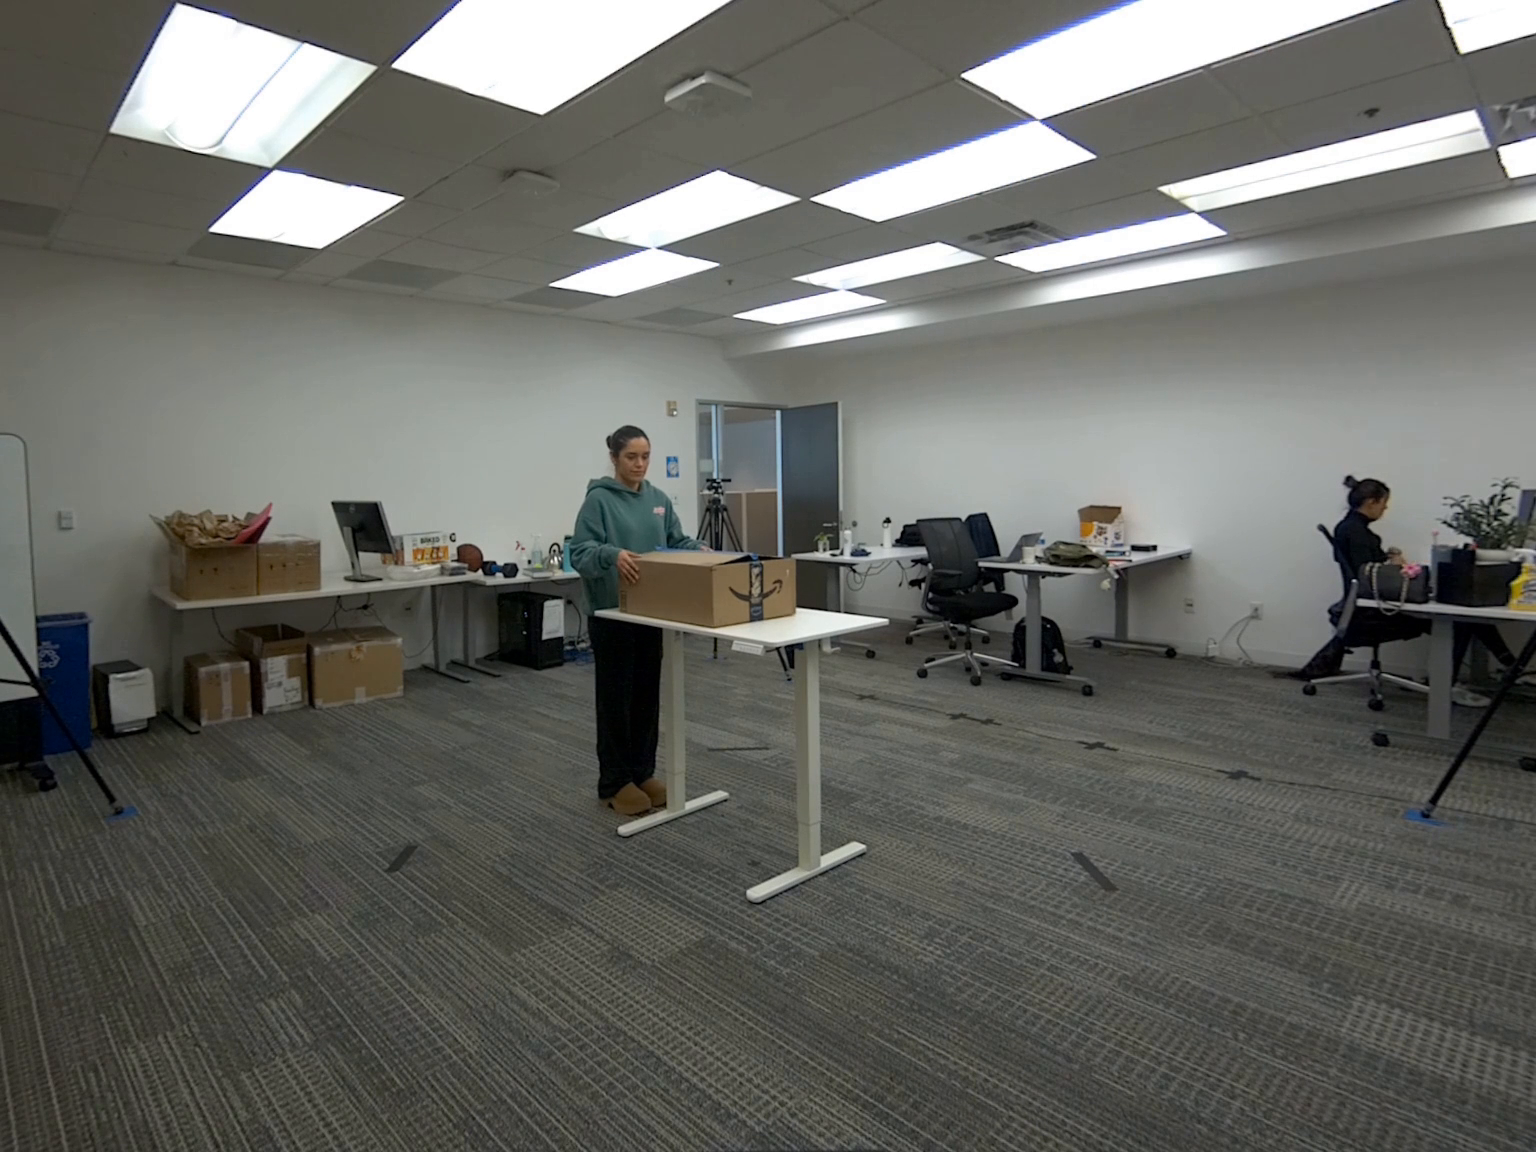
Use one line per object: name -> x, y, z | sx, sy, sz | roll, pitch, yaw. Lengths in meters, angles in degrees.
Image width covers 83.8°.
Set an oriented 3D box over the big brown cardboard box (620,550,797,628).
big brown cardboard box -> -0.235, 0.035, 3.272 | 0.407, 0.232, 0.607 | -6, 7, -43
